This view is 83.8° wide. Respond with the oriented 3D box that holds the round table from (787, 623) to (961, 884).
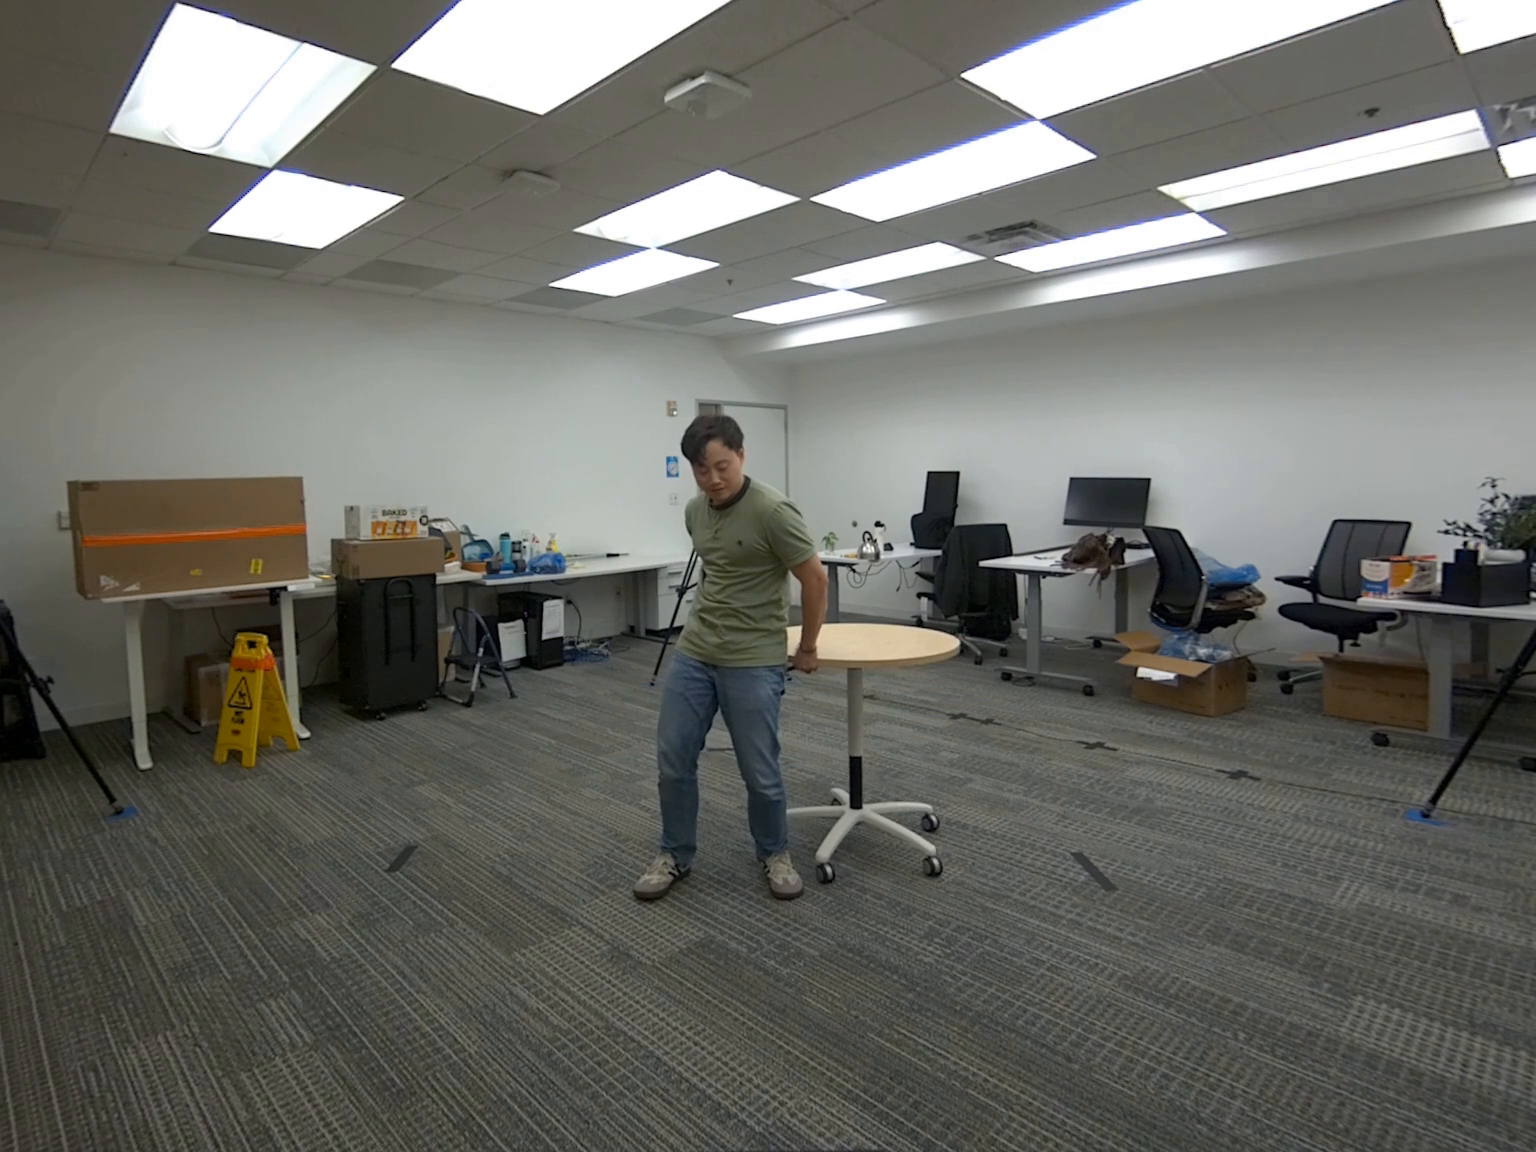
[{"bbox_3d":[0.329,0.633,3.235,0.763,0.791,0.767,-1,4,-2],"label":"round table"}]
